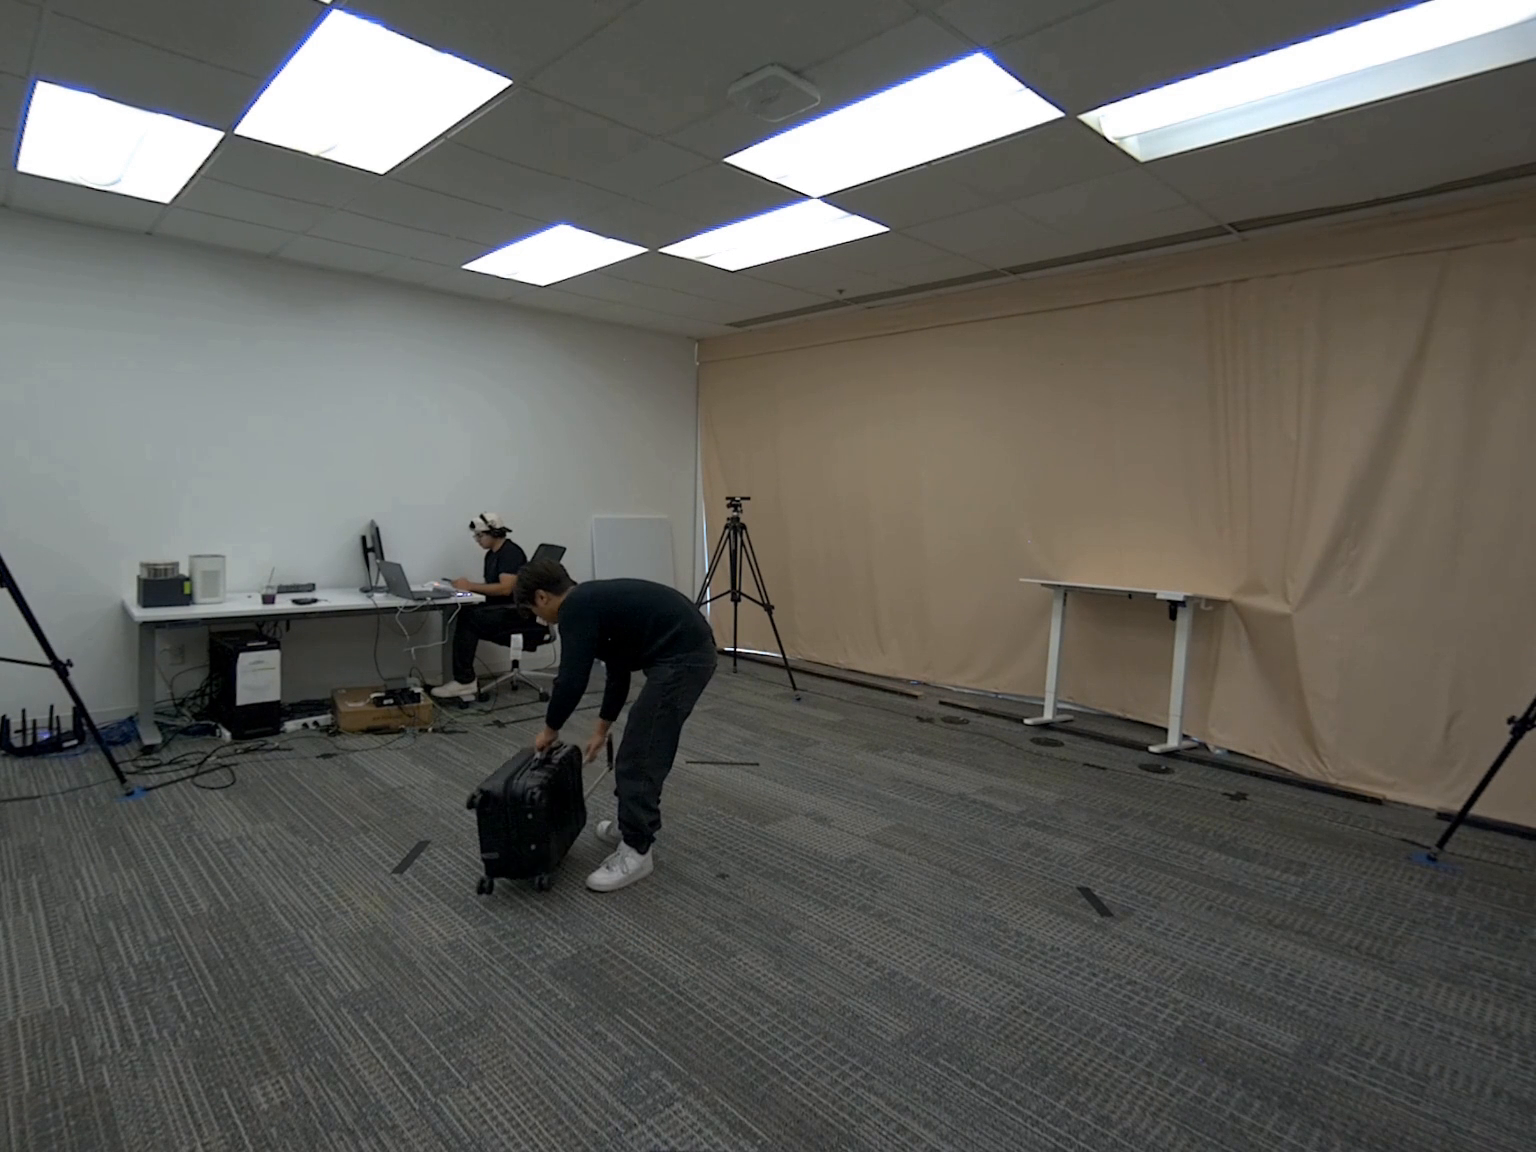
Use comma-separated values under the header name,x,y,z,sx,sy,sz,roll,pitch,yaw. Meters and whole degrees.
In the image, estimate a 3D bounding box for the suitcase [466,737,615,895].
name,x,y,z,sx,sy,sz,roll,pitch,yaw
suitcase,-0.851,0.828,3.277,0.258,0.382,0.979,-5,6,3
